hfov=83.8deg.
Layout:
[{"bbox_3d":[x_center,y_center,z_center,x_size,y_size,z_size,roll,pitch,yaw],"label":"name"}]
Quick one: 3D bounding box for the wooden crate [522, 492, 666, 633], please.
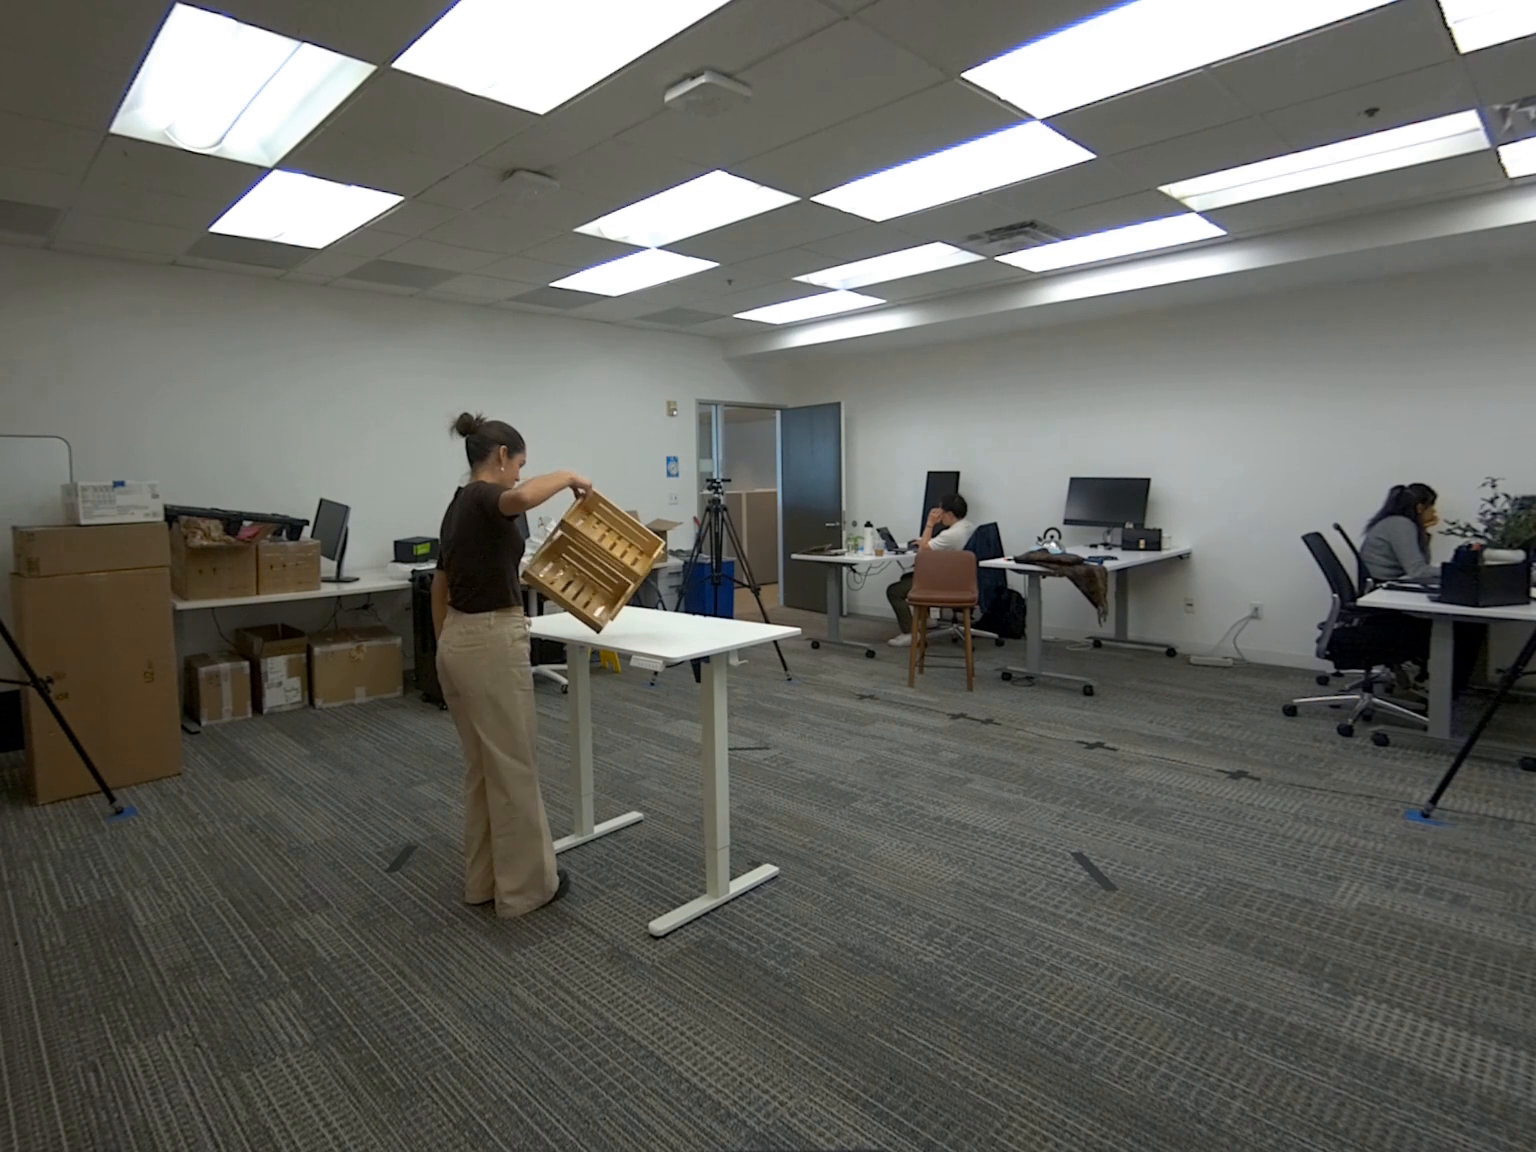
[{"bbox_3d":[-0.548,-0.054,2.712,0.323,0.272,0.304,37,22,-4],"label":"wooden crate"}]
